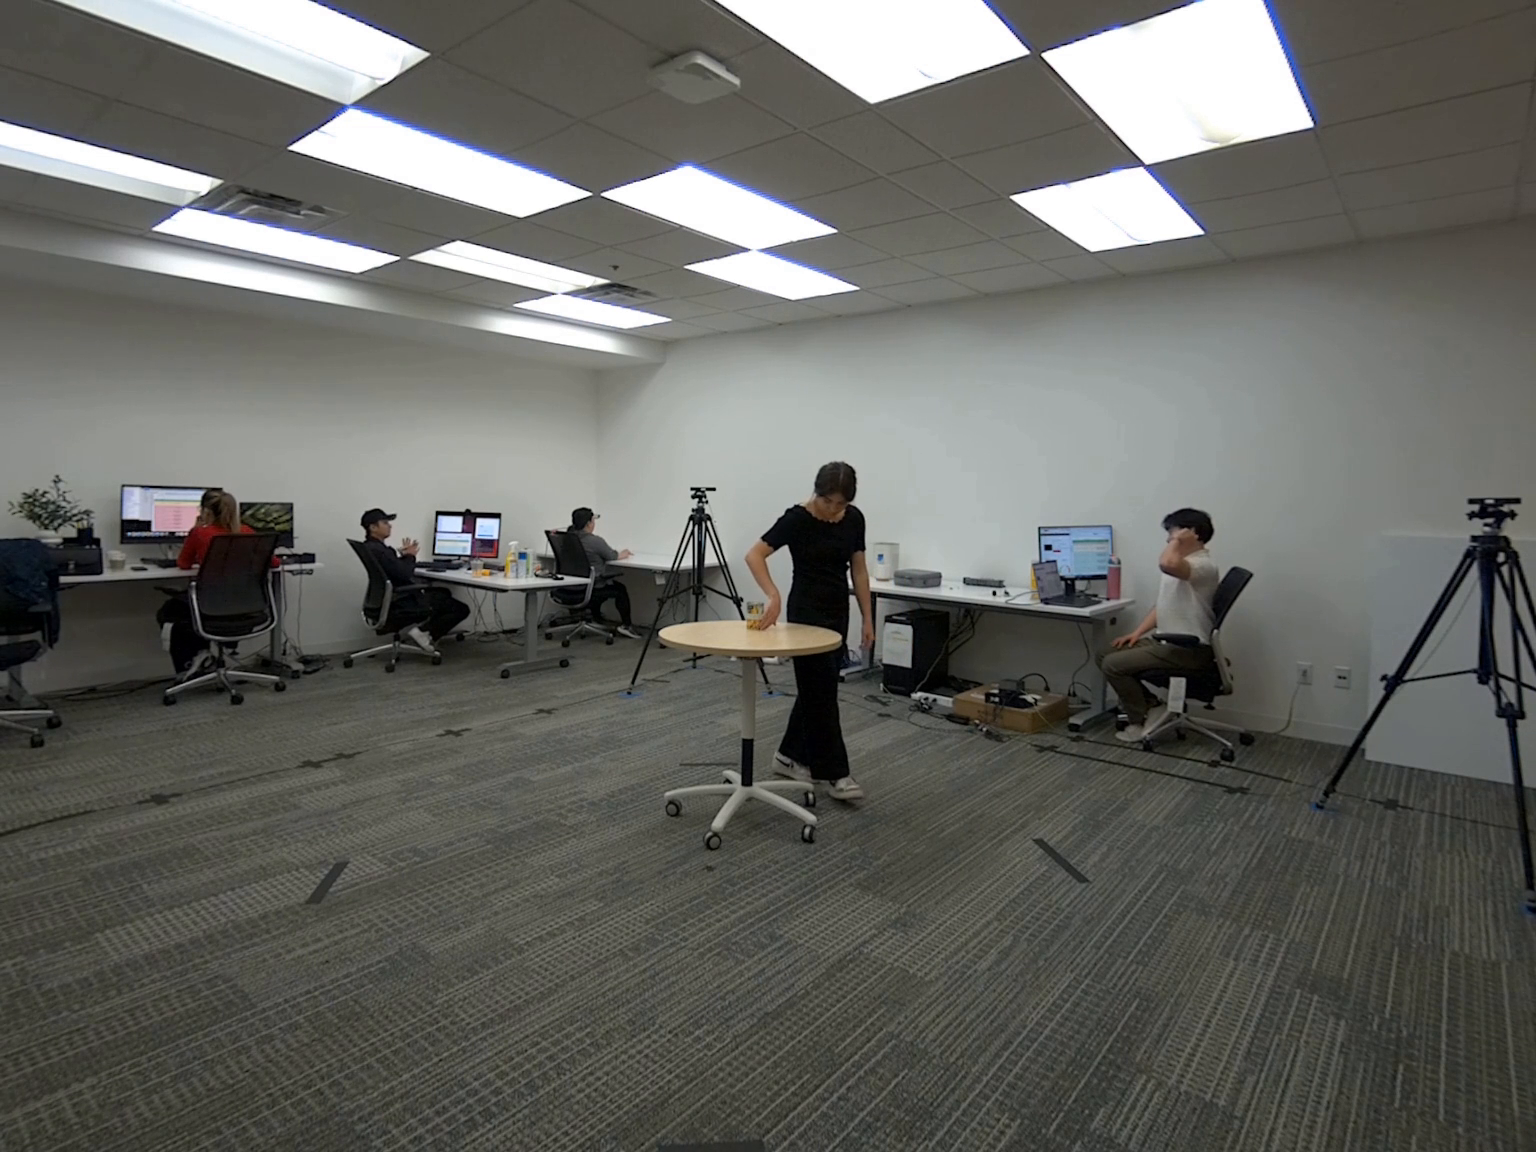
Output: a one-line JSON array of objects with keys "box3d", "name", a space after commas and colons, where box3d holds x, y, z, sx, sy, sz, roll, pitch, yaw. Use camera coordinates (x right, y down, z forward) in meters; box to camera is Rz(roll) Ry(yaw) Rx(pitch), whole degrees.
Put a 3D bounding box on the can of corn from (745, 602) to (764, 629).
[{"box3d": [-0.063, 0.171, 3.725, 0.074, 0.111, 0.074, 3, 0, -2], "name": "can of corn"}]
